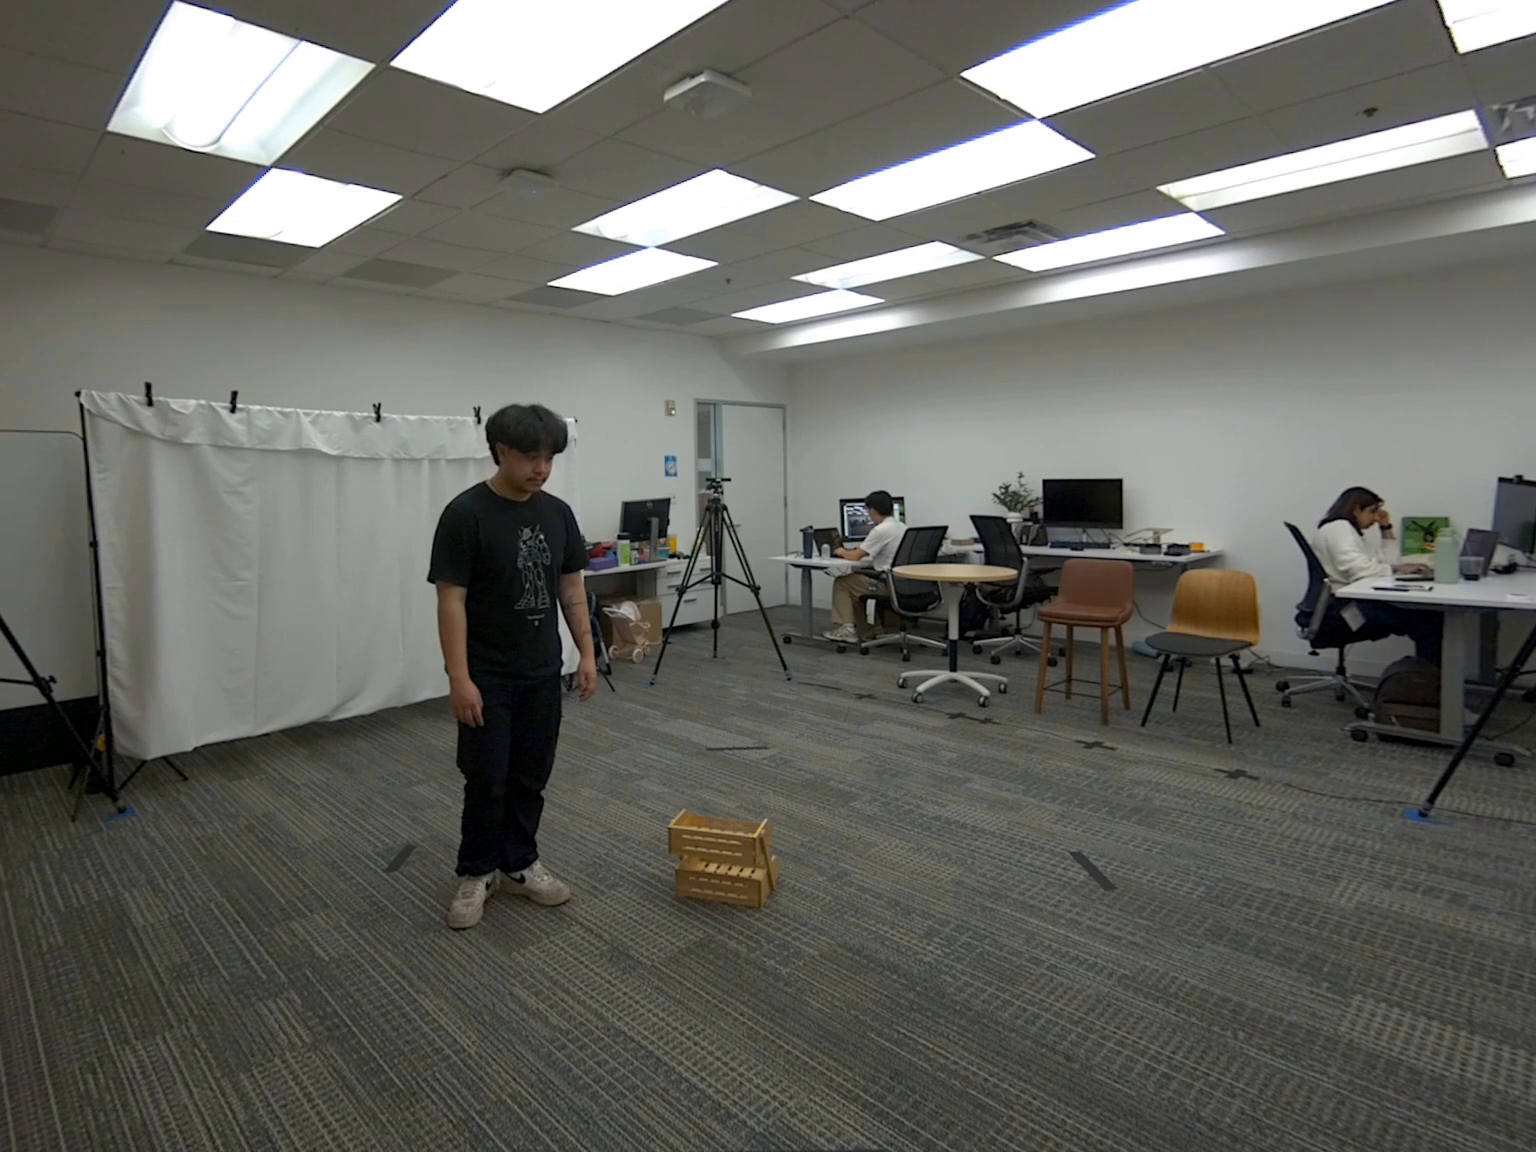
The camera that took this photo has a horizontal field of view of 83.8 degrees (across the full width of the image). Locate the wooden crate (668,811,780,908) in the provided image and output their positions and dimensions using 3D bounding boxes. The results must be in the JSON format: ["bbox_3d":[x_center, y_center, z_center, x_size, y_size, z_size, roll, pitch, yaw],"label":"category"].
[{"bbox_3d":[-0.141,0.932,2.916,0.330,0.272,0.299,1,6,16],"label":"wooden crate"}]
